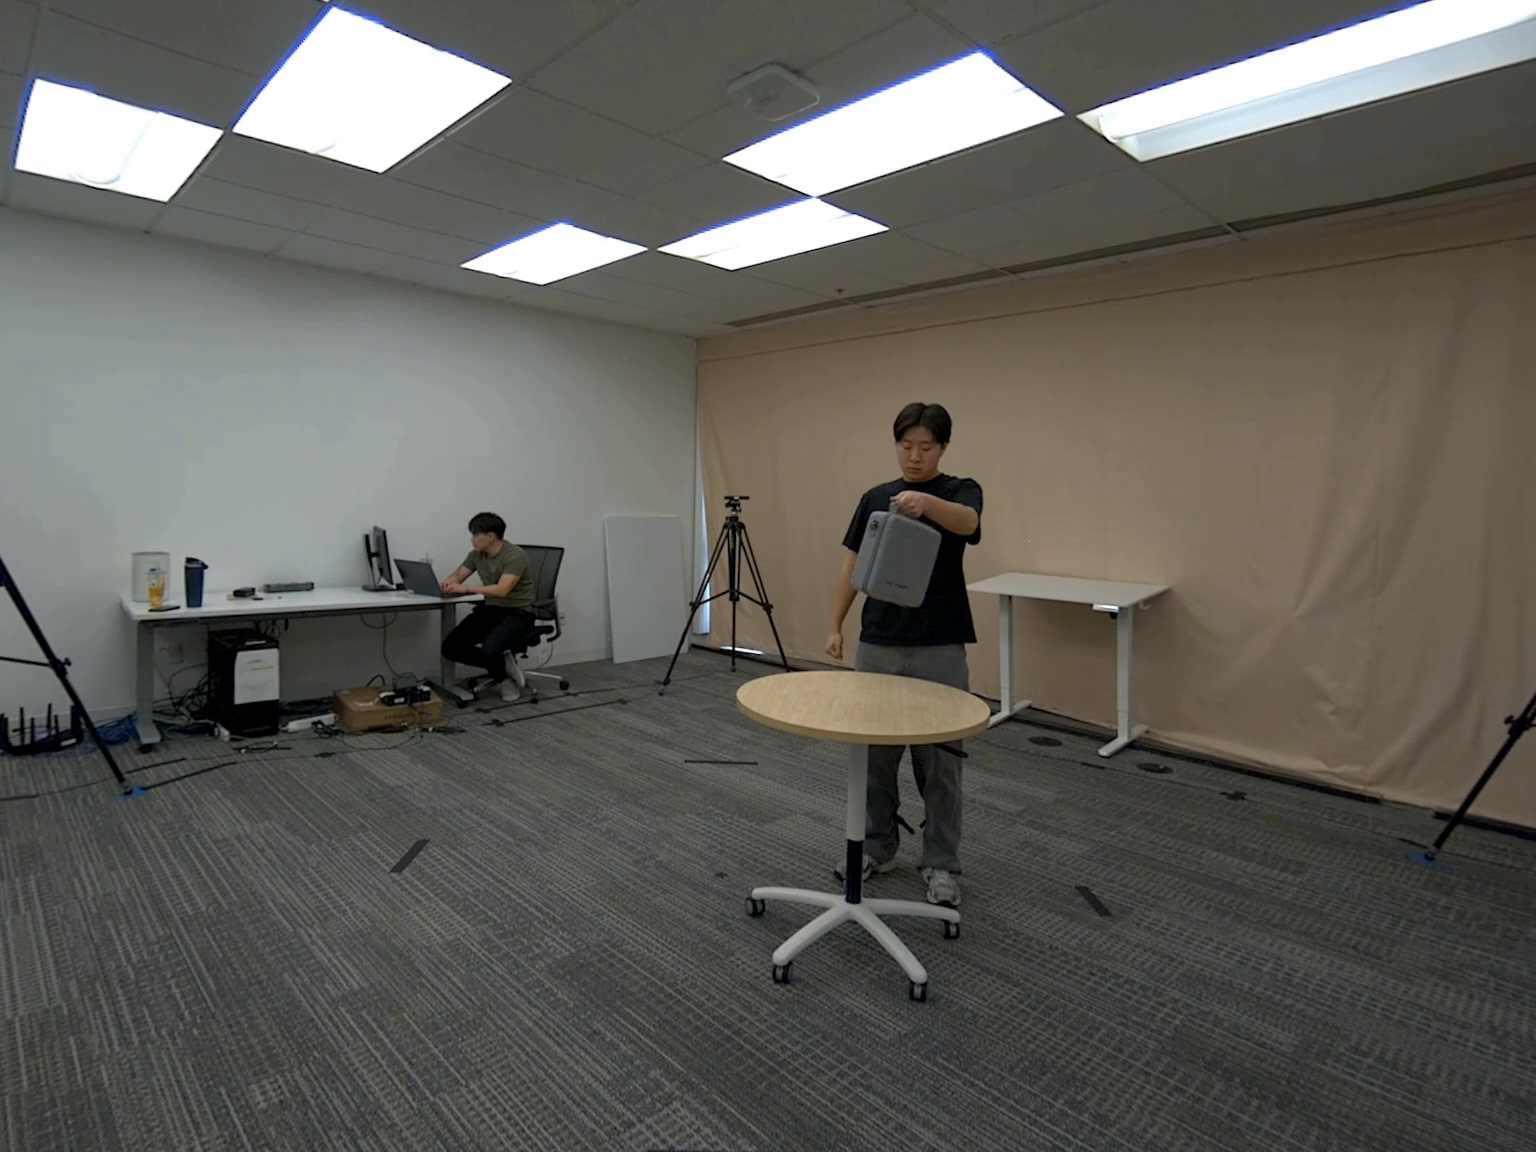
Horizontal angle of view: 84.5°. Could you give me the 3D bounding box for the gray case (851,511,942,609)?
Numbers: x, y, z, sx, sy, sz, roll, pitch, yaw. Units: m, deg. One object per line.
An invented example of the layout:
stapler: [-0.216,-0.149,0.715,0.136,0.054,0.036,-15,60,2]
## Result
gray case: [0.380,-0.054,2.566,0.256,0.288,0.106,17,-4,-36]
